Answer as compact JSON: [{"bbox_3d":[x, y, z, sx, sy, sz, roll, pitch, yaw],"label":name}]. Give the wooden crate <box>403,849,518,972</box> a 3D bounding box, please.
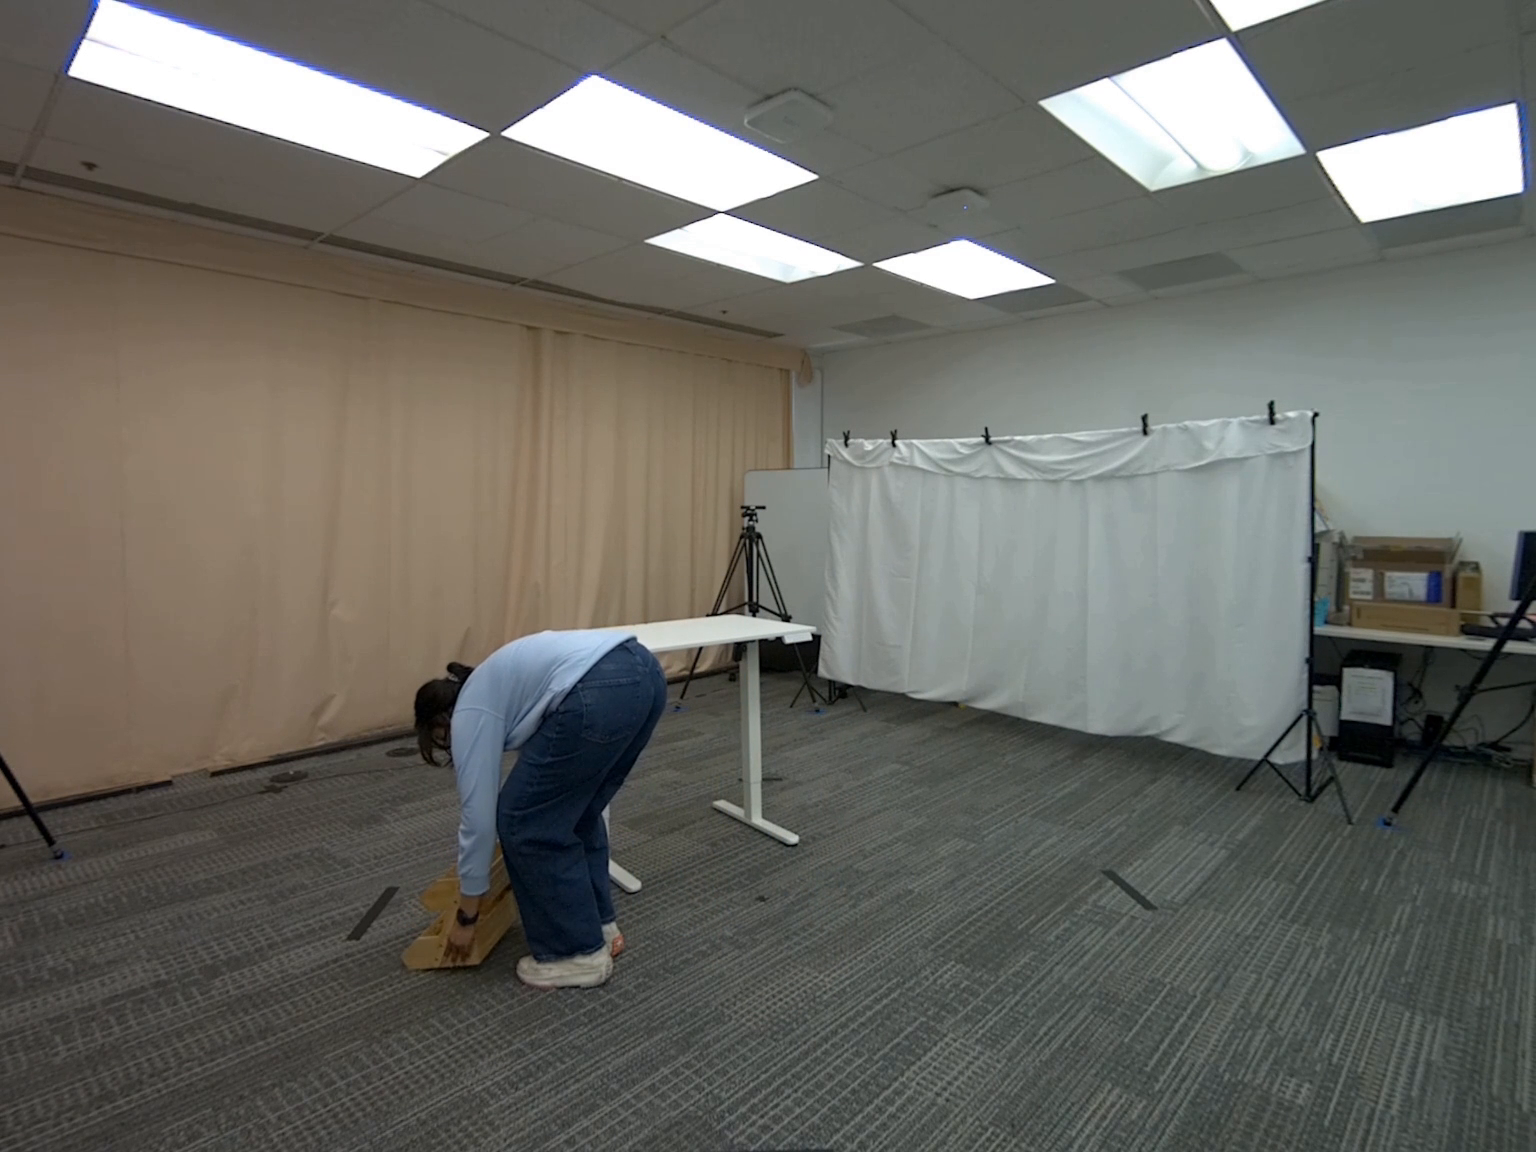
[{"bbox_3d":[-0.968,1.030,2.661,0.304,0.273,0.322,-9,3,7],"label":"wooden crate"}]
